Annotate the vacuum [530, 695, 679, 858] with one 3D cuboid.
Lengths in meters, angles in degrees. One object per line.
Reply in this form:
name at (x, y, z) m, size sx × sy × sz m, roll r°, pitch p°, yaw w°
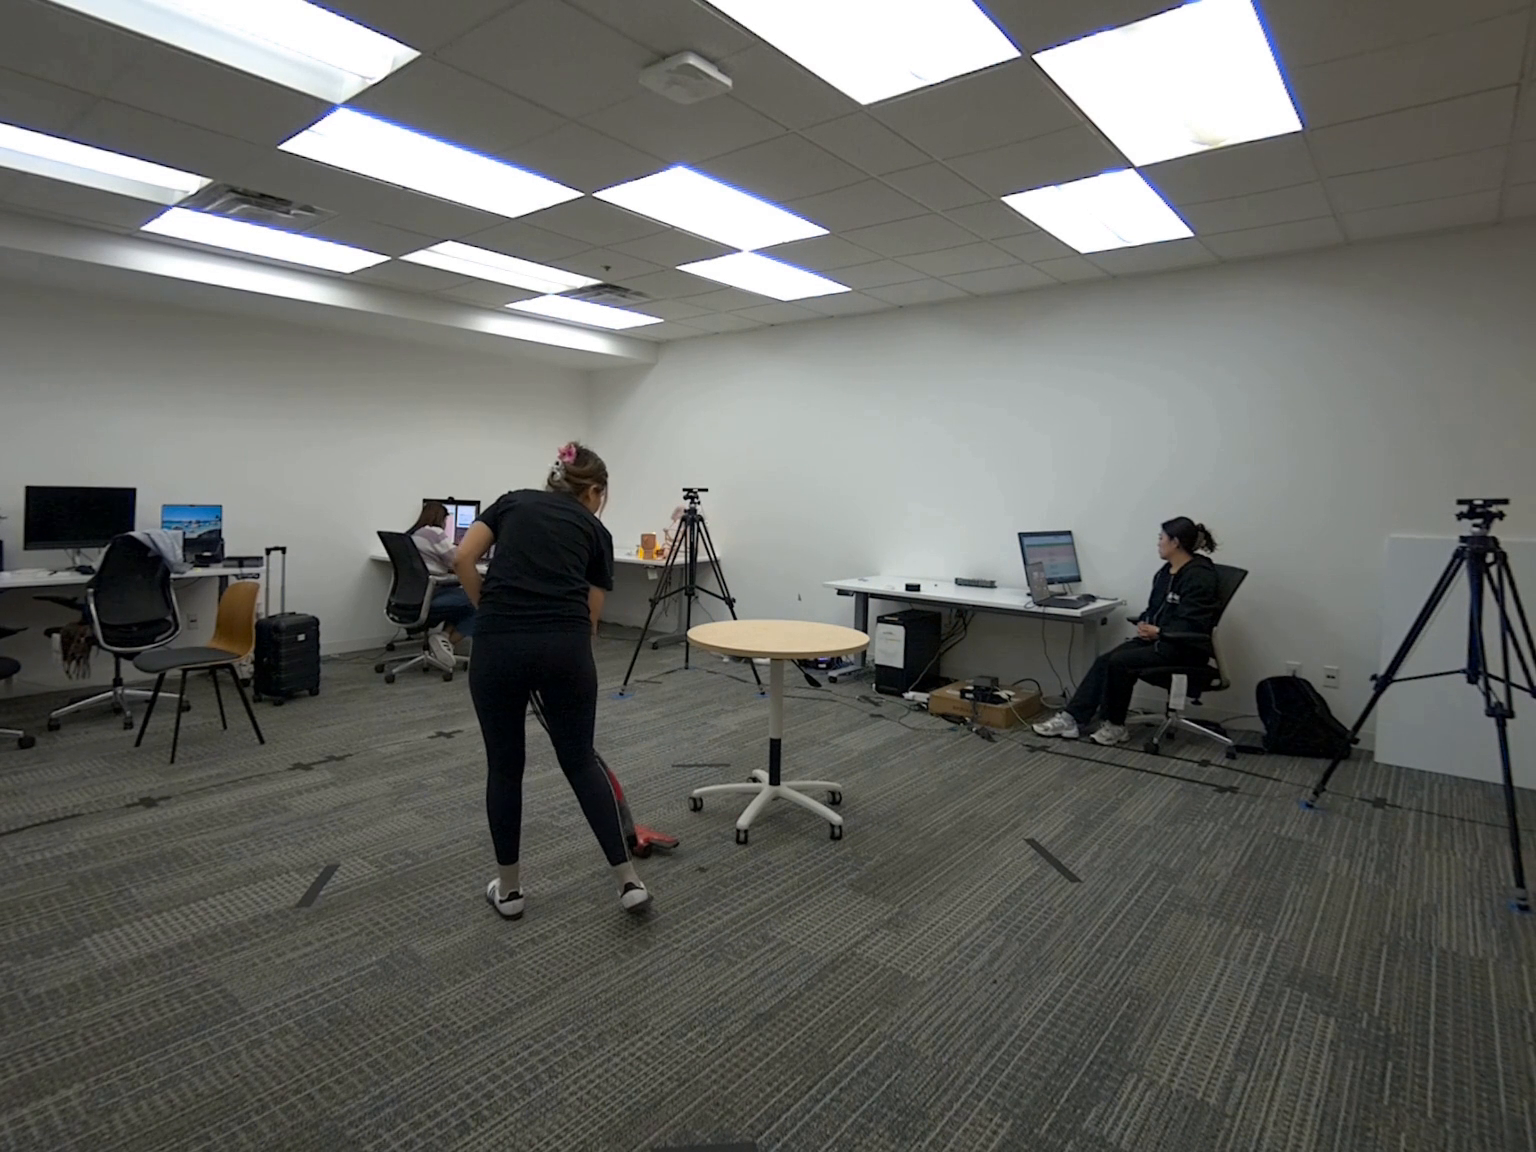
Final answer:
vacuum at (-0.672, 0.633, 3.043) m, size 0.260 × 1.015 × 0.144 m, roll -2°, pitch 37°, yaw 36°
